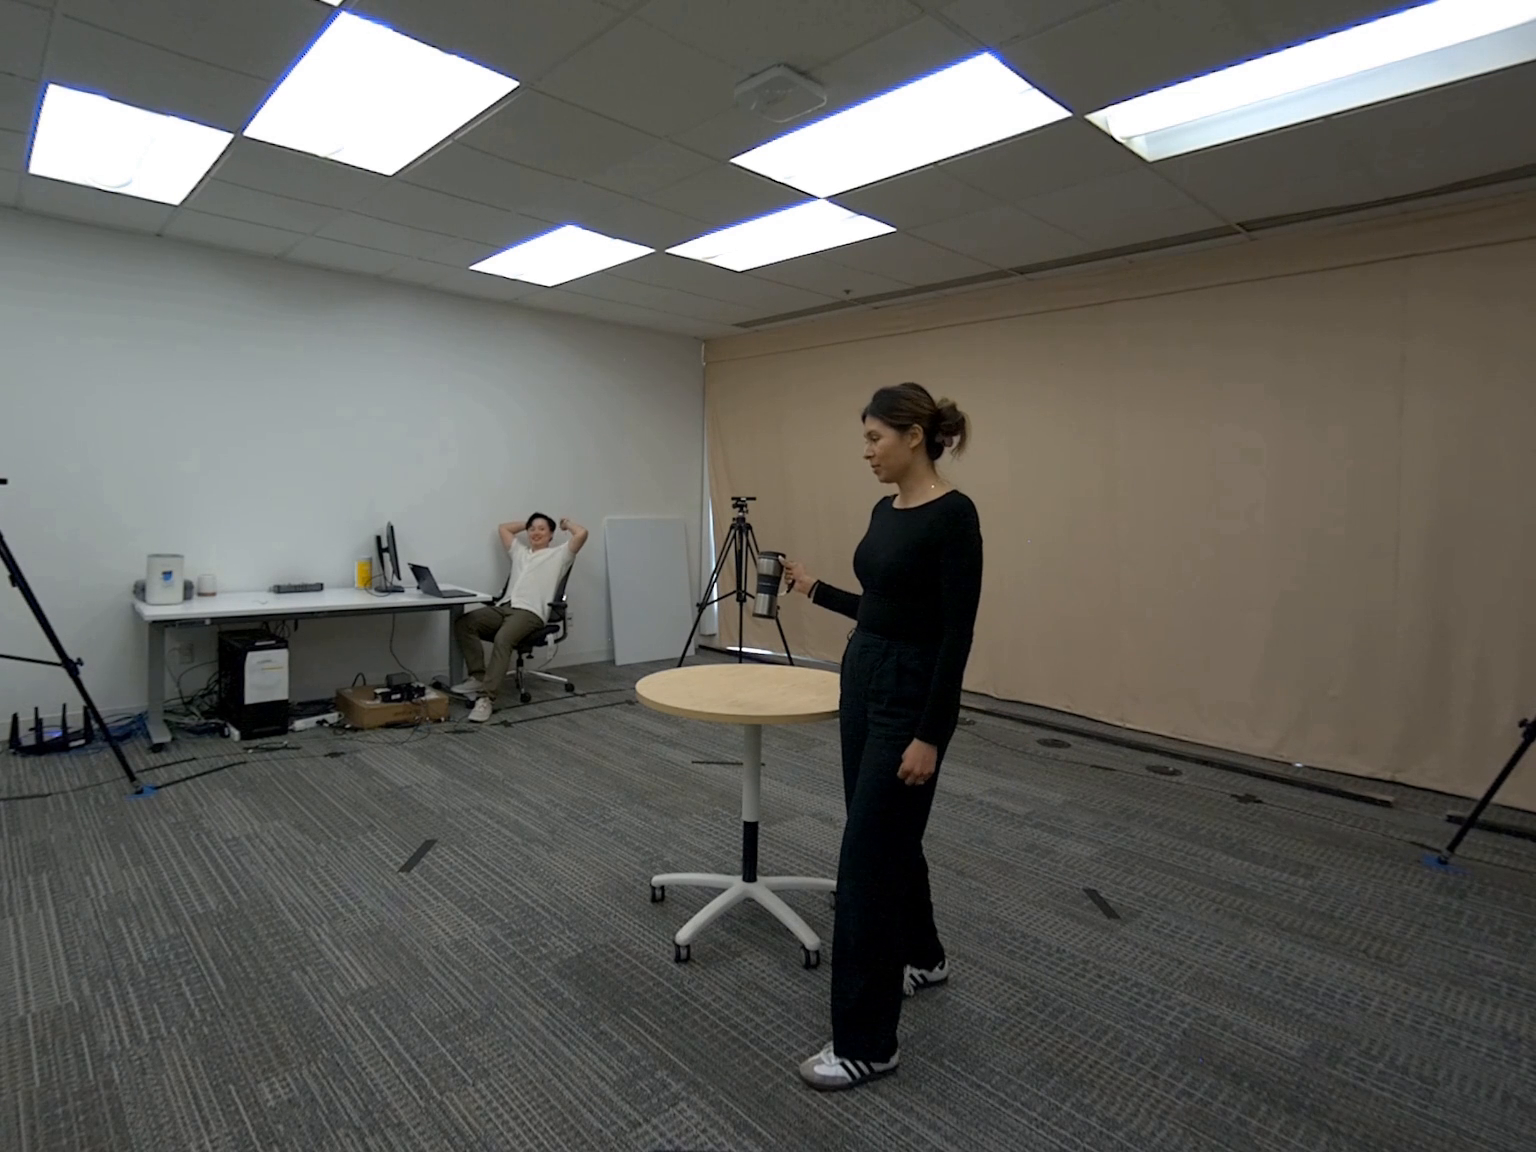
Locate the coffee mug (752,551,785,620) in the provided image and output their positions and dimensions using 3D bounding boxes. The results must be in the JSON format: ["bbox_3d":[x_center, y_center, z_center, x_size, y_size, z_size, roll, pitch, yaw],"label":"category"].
[{"bbox_3d":[0.010,0.030,2.572,0.085,0.203,0.125,13,-7,-44],"label":"coffee mug"}]
